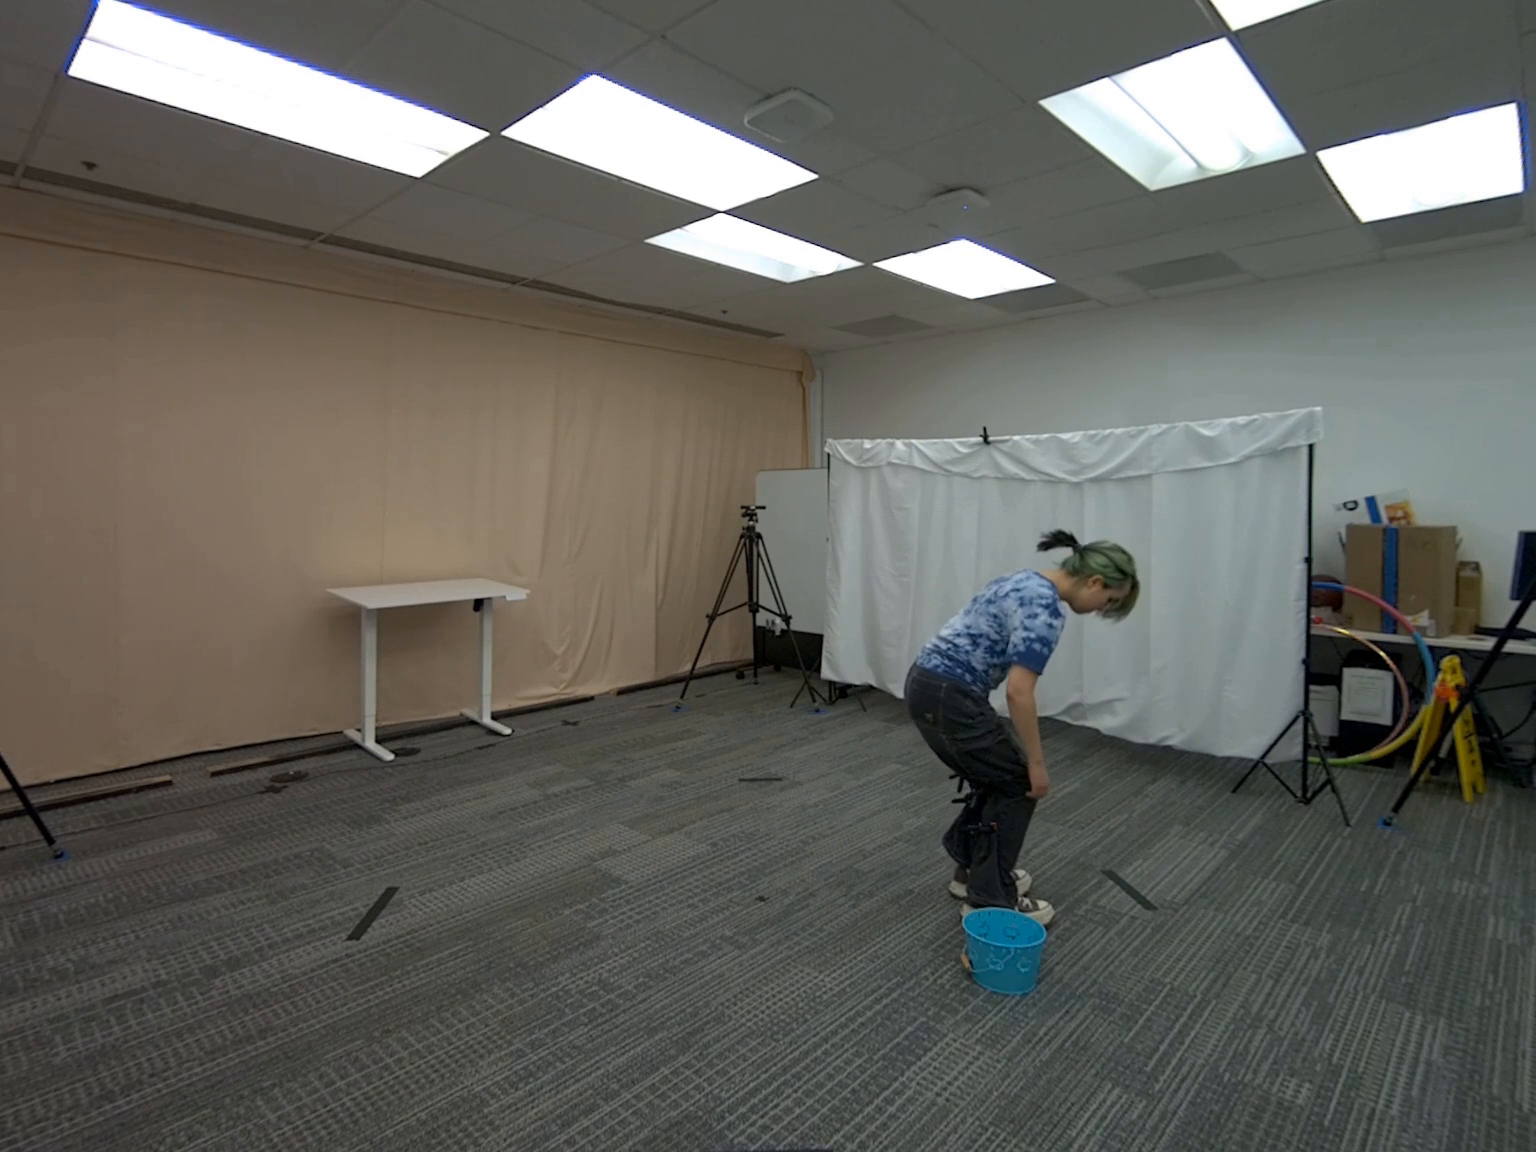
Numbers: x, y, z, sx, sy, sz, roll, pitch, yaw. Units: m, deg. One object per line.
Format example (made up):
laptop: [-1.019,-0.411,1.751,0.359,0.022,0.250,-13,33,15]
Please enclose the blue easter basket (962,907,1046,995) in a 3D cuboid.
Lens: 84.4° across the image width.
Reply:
blue easter basket: [0.701,1.105,2.479,0.243,0.155,0.244,0,3,-2]
